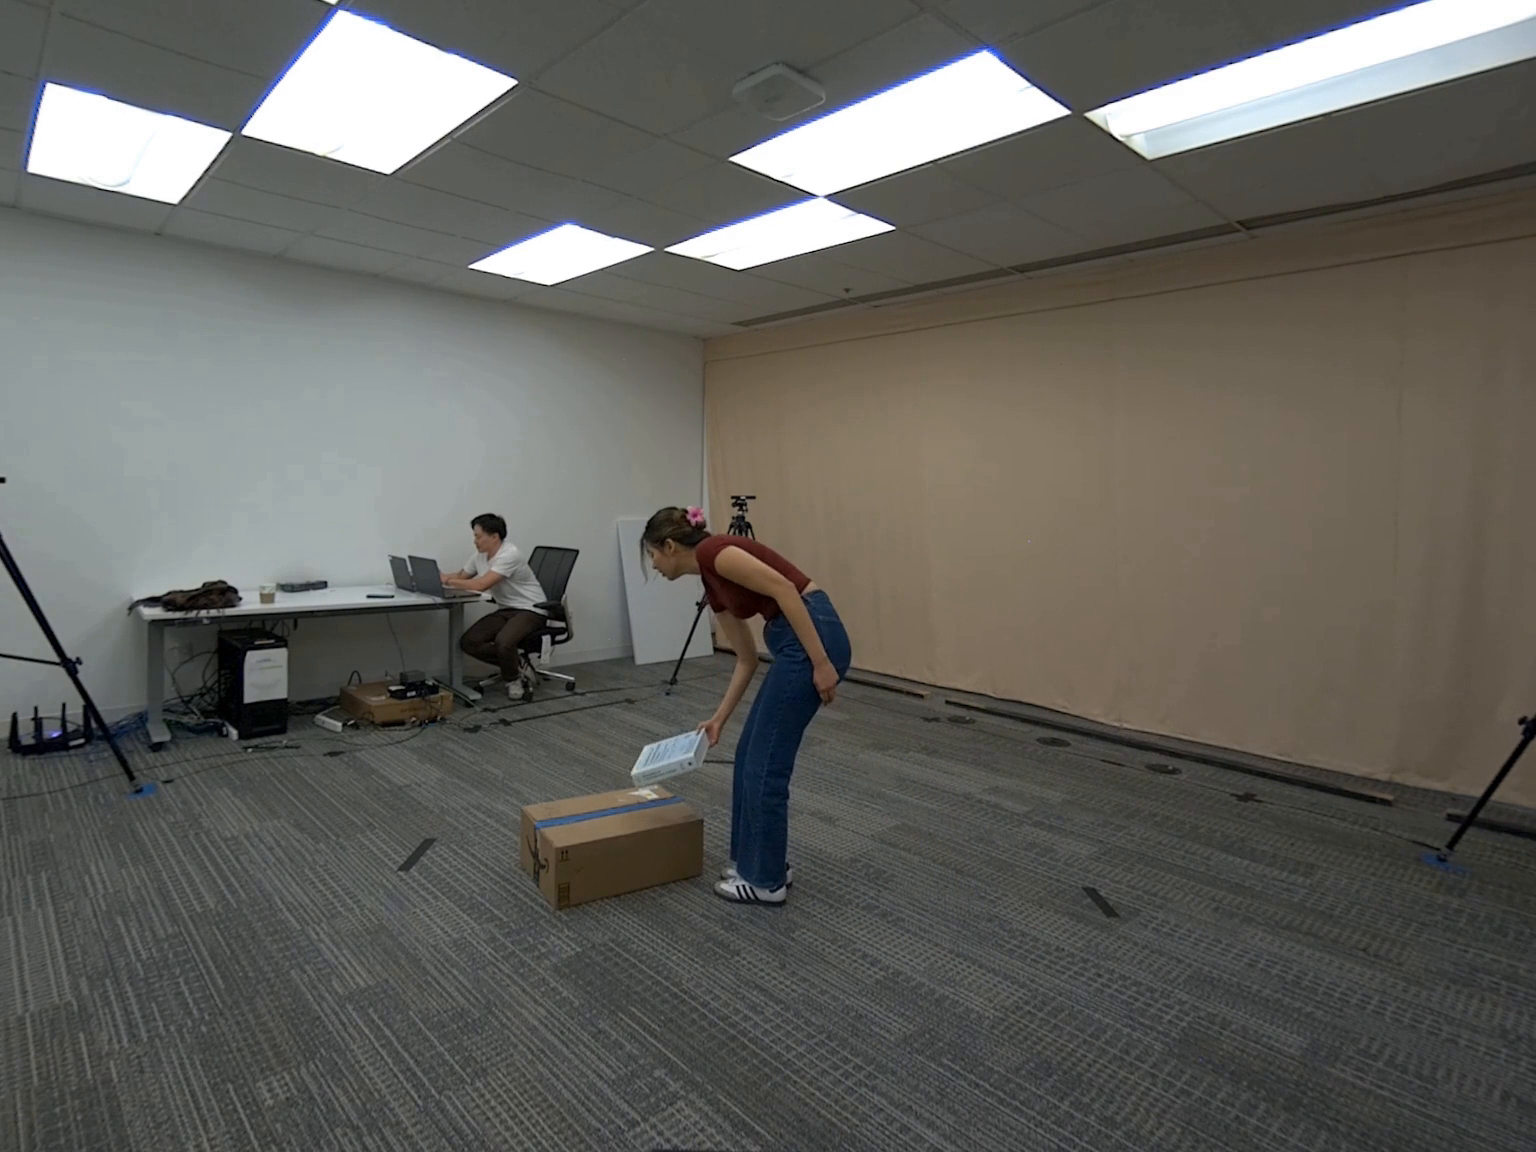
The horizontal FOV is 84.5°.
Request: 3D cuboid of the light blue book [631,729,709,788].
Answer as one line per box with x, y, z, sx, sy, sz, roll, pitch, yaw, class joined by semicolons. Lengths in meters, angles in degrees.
-0.366;0.660;3.076;0.263;0.058;0.192;-20;14;18;light blue book
